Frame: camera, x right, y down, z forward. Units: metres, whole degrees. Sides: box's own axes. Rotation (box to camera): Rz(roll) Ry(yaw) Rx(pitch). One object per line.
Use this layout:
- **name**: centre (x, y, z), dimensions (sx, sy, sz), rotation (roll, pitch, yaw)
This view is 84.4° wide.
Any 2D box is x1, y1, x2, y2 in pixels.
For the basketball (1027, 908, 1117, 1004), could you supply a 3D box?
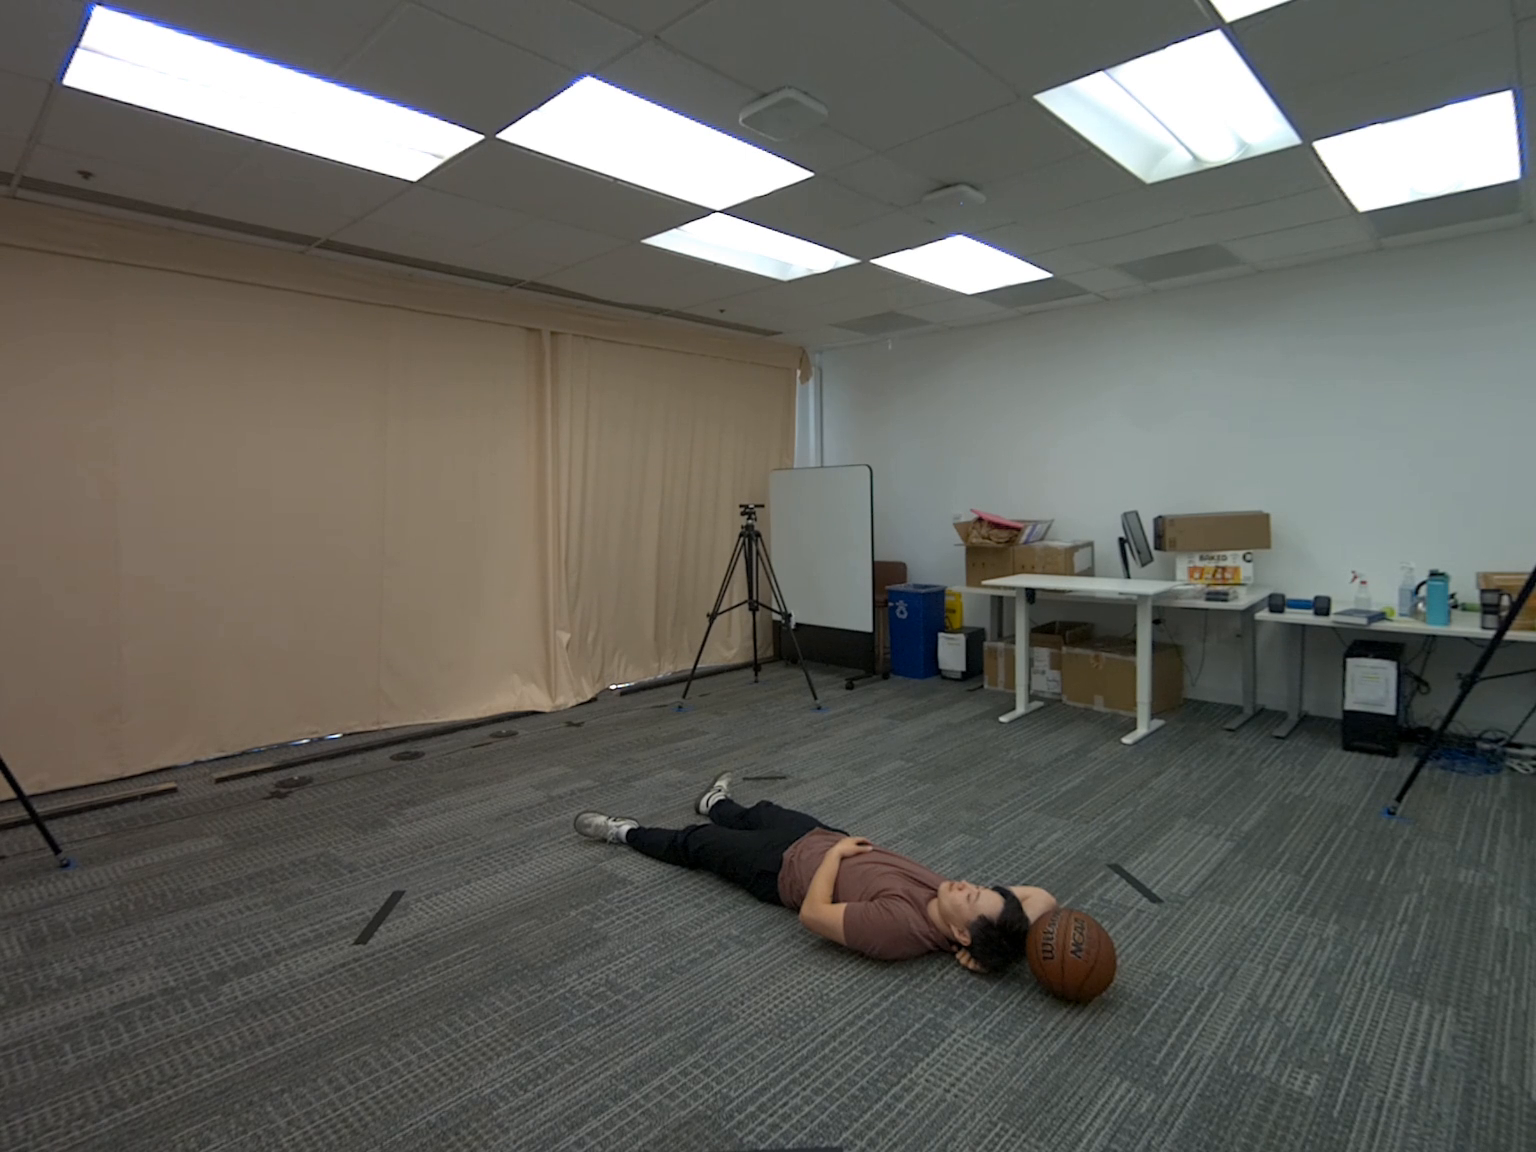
- **basketball**: centre (0.853, 1.053, 2.368), dimensions (0.236, 0.235, 0.236), rotation (-1, 3, -2)
